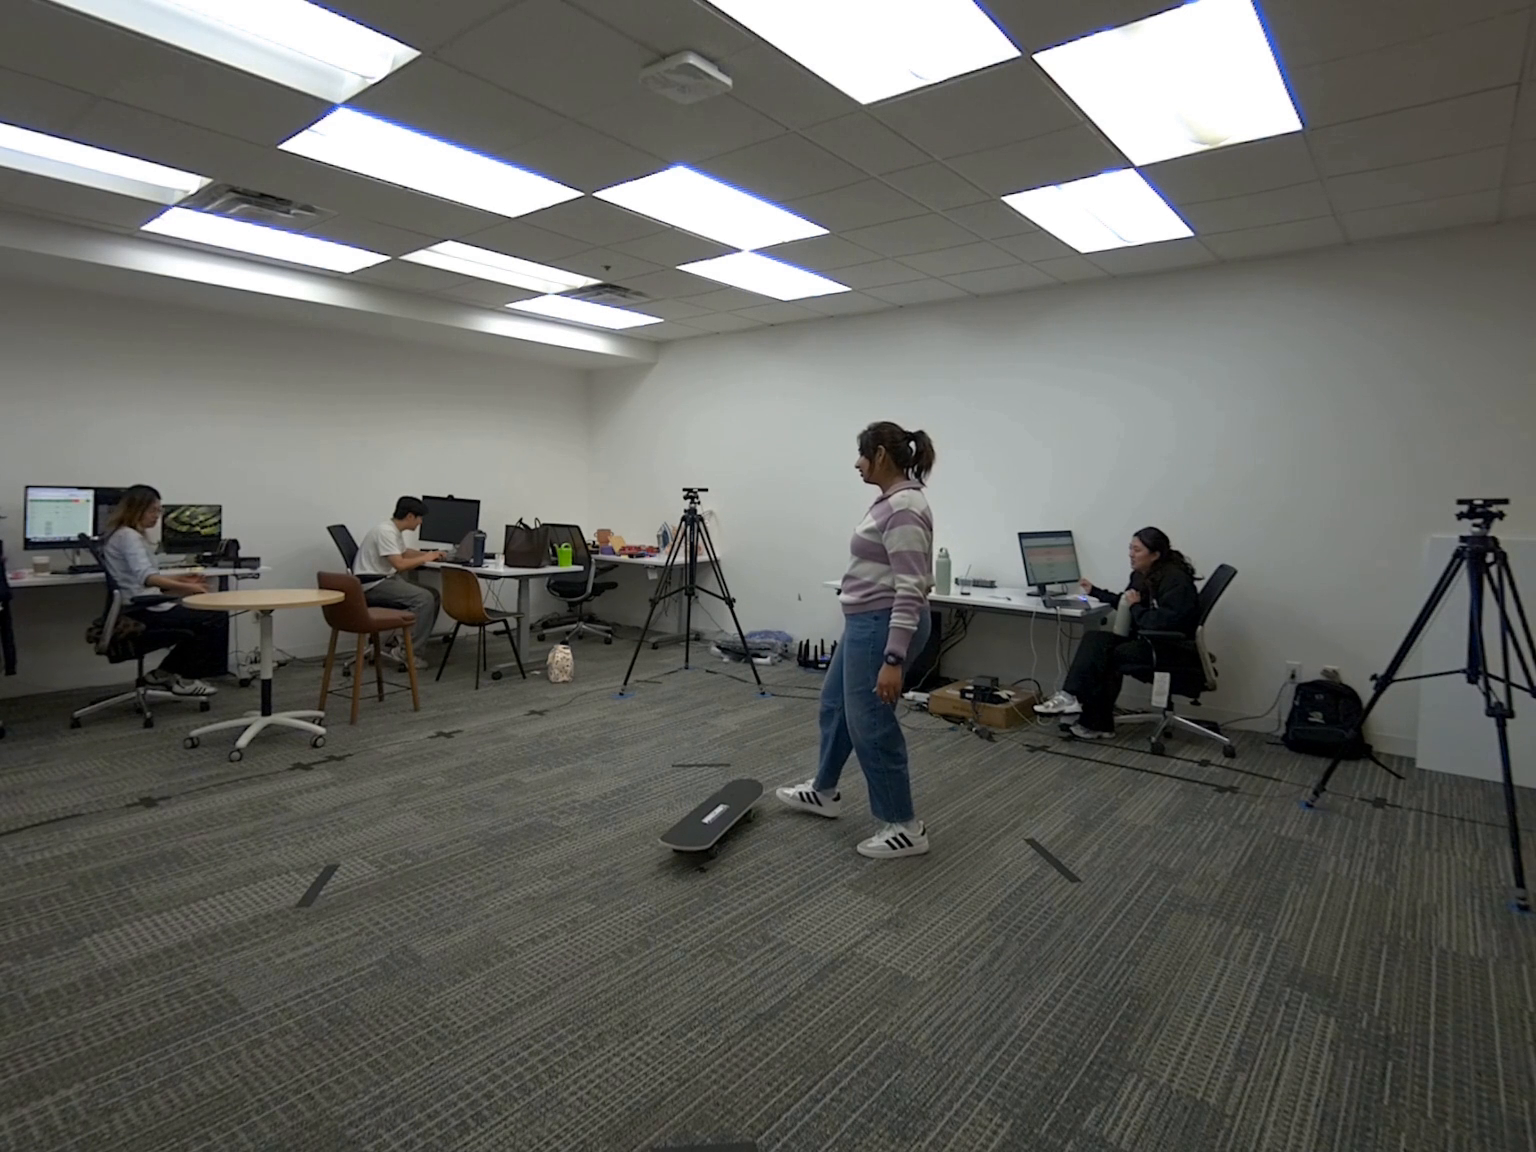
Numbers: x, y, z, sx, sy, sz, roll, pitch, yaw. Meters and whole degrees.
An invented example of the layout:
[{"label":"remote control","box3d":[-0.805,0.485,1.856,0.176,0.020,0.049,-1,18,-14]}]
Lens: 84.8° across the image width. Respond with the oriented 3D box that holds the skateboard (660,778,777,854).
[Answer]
[{"label":"skateboard","box3d":[-0.220,0.984,3.421,0.198,0.110,0.771,2,6,20]}]
